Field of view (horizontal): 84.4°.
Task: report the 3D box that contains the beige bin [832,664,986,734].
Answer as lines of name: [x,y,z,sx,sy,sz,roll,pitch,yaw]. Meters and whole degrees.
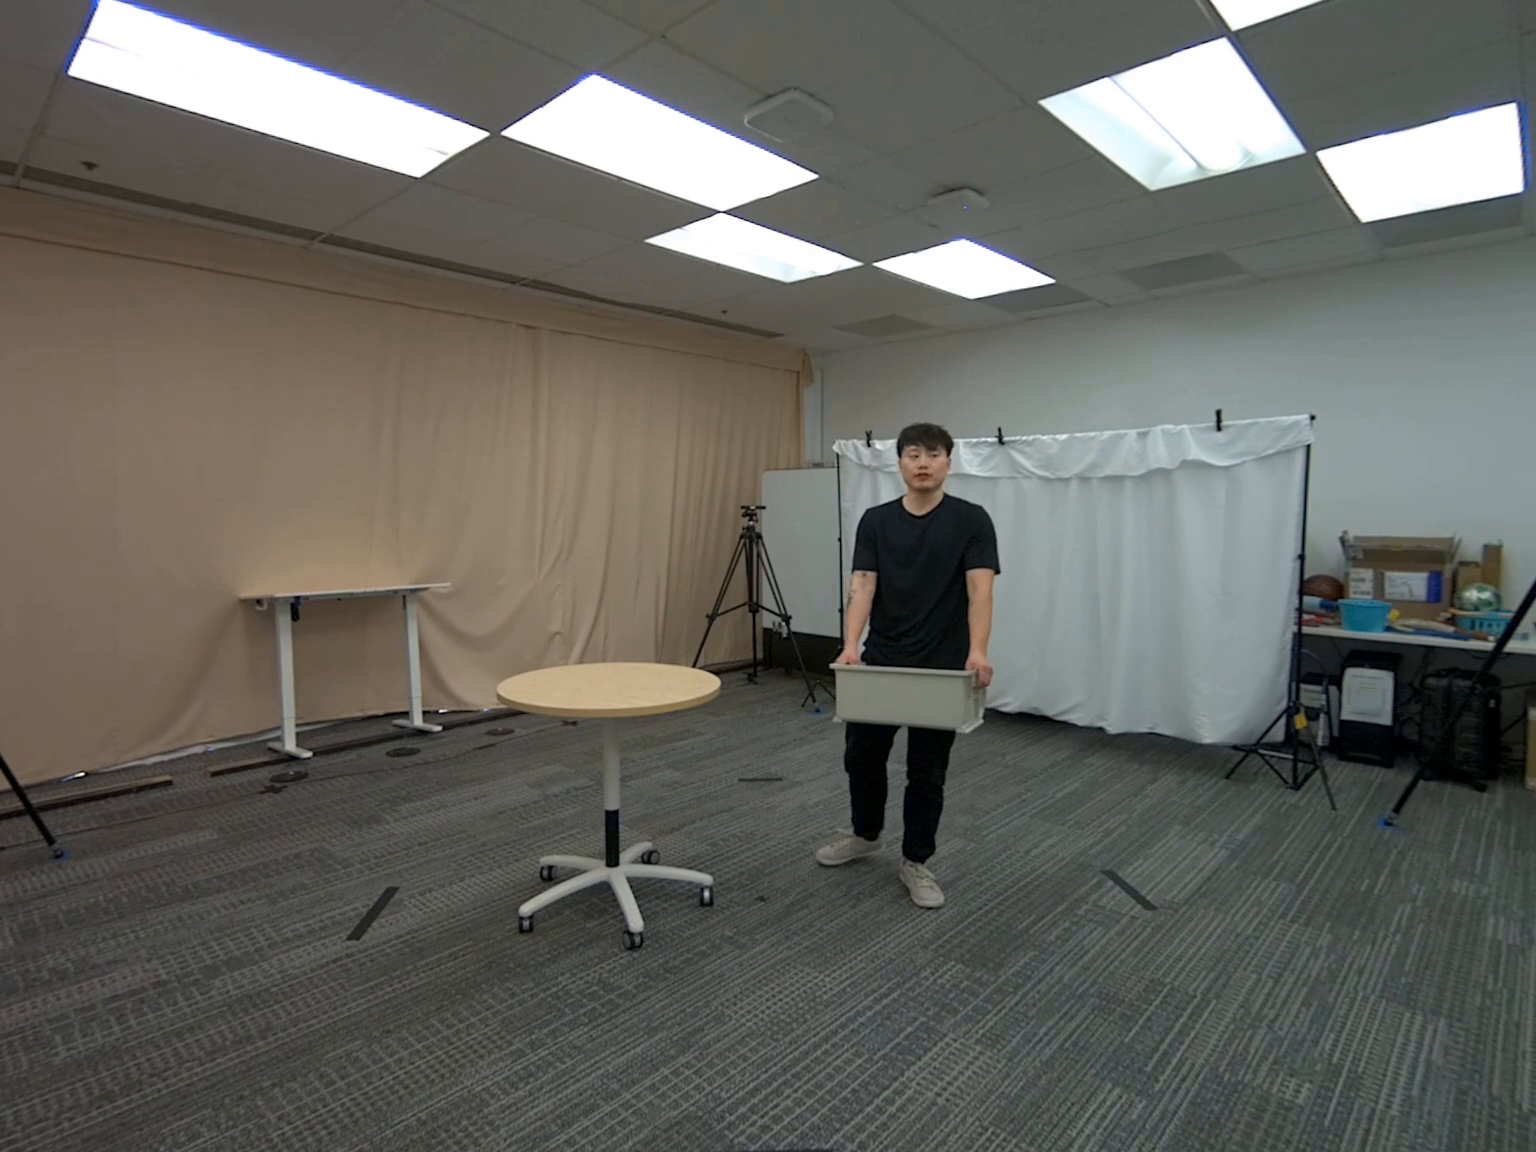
beige bin: [0.454,0.373,2.702,0.433,0.189,0.368,1,-1,24]
